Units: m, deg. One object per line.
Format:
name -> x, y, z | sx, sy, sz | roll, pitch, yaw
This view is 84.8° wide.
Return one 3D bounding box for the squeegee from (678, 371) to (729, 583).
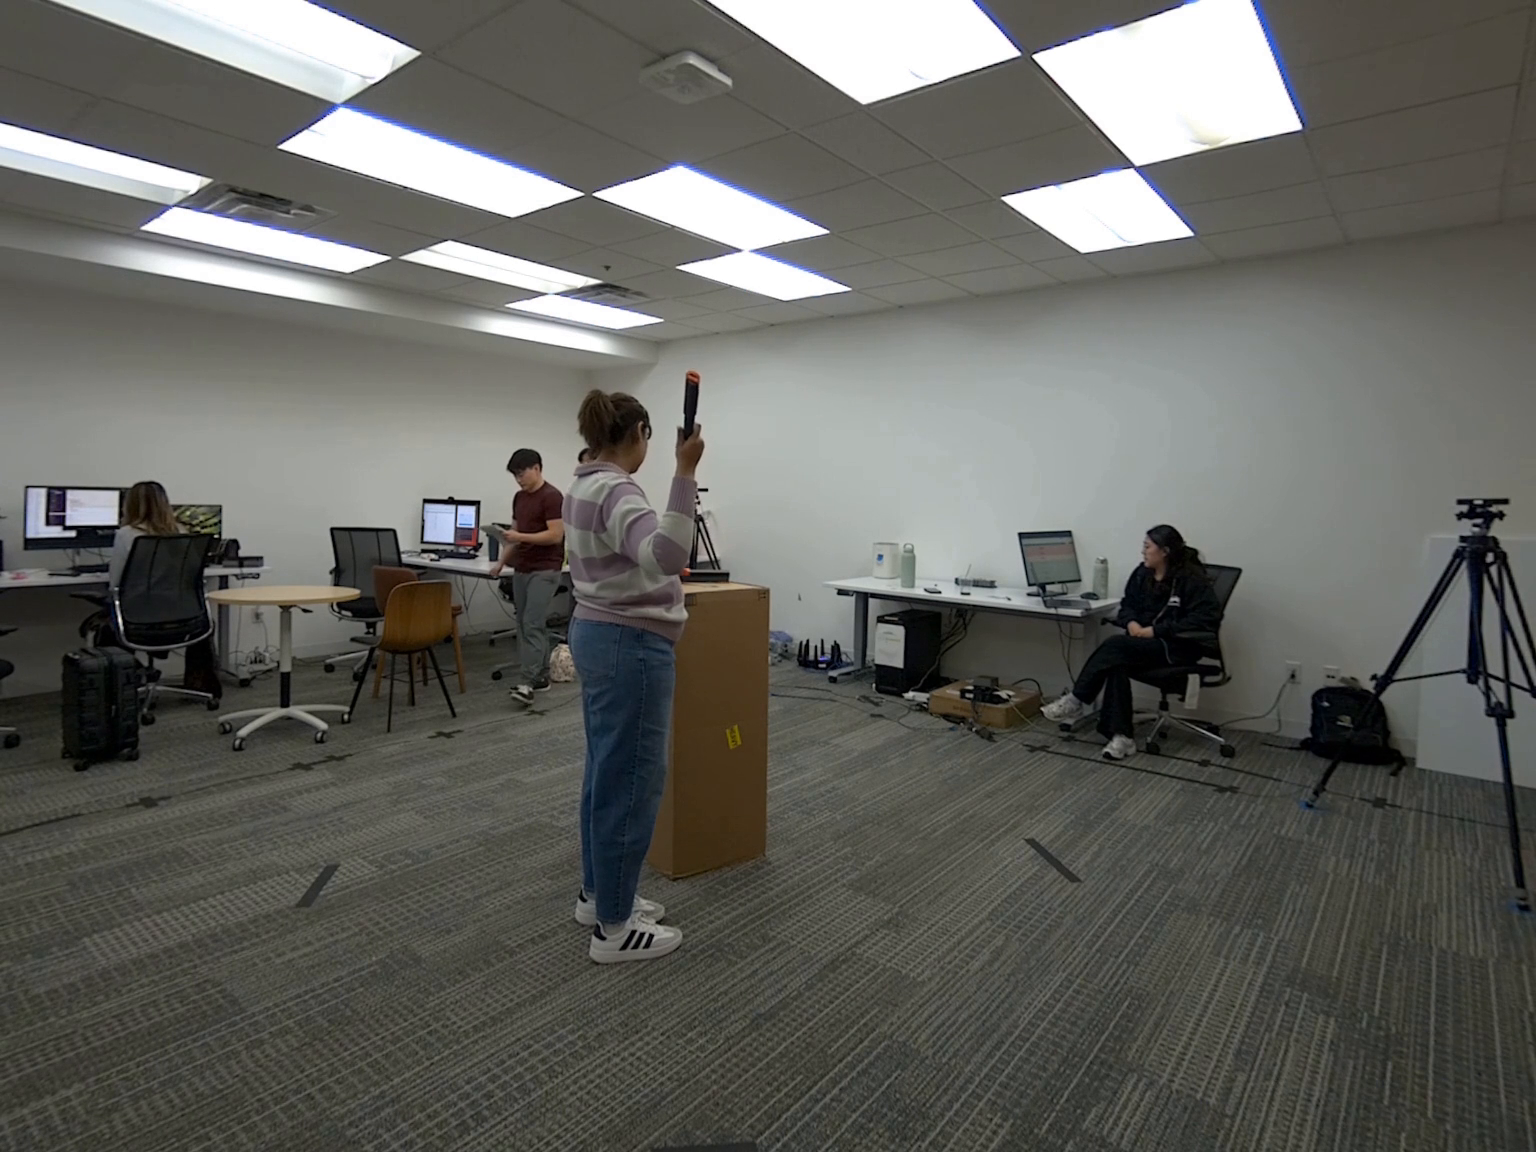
squeegee -> -0.249, -0.232, 2.650 | 0.435, 0.054, 1.515 | 1, -20, -6
